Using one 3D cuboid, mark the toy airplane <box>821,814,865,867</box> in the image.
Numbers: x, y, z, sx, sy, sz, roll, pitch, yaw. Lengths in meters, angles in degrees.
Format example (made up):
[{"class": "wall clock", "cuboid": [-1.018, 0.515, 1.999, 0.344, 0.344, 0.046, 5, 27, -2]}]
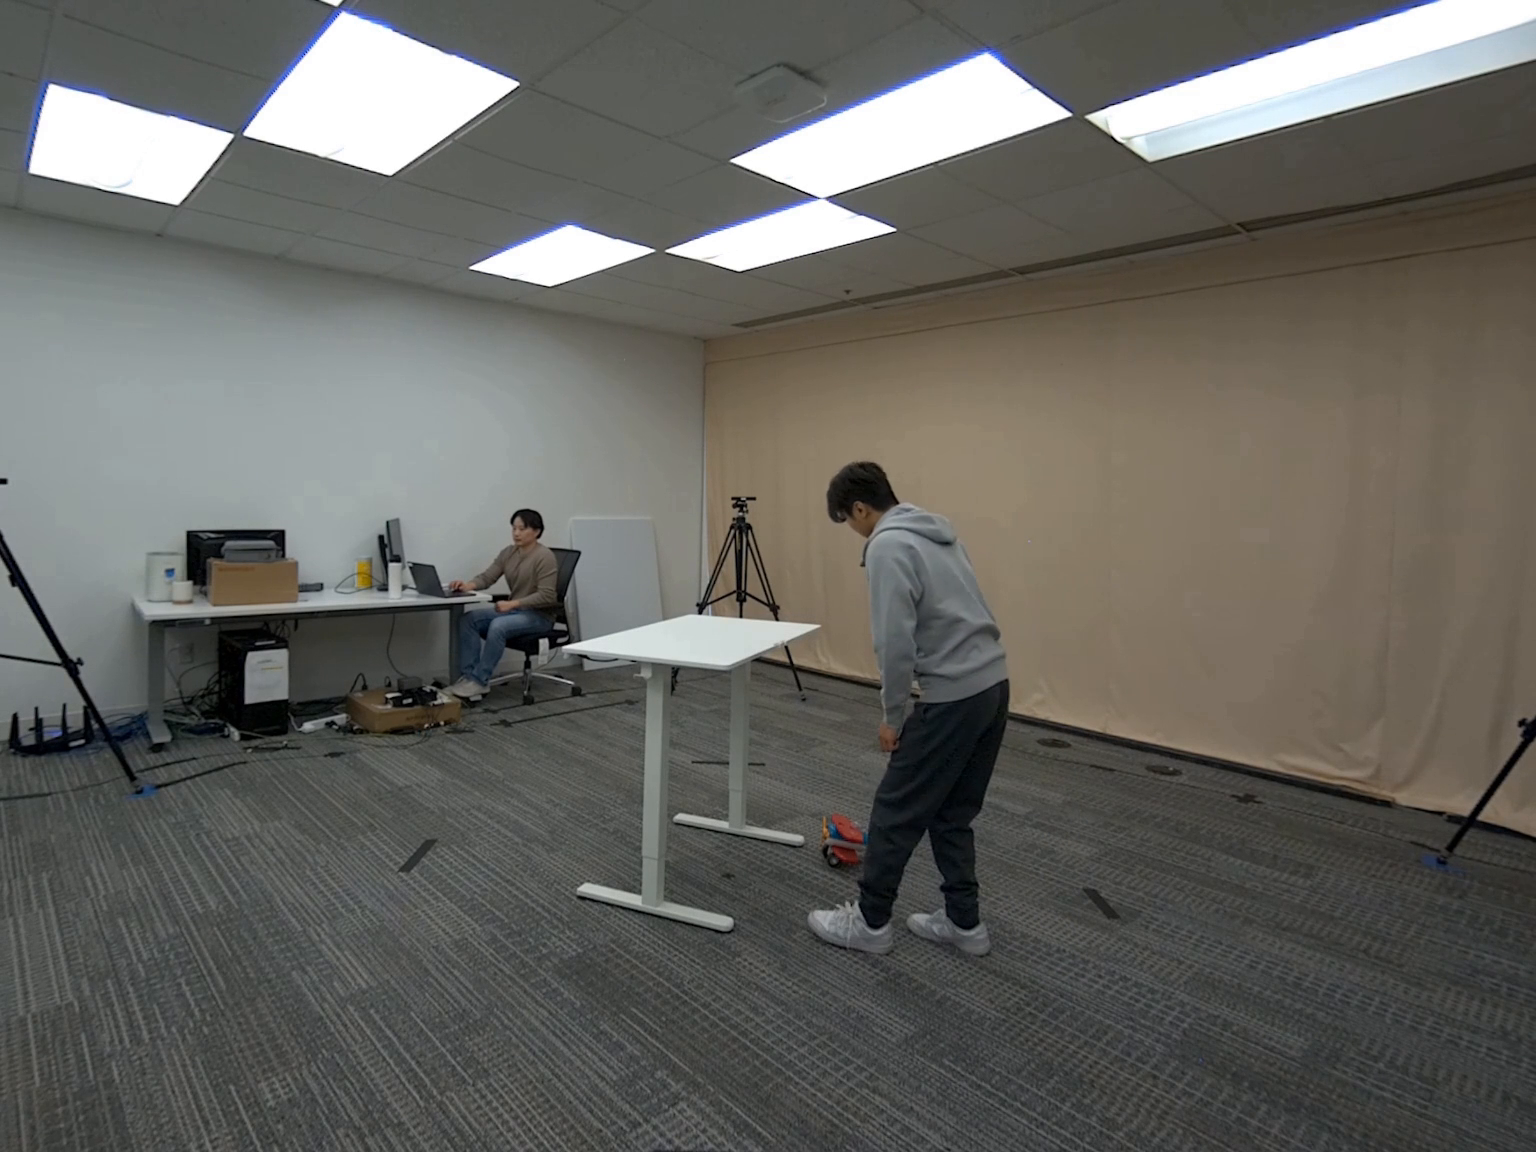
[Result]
[{"class": "toy airplane", "cuboid": [0.318, 1.028, 3.265, 0.253, 0.156, 0.257, -2, 6, -36]}]
